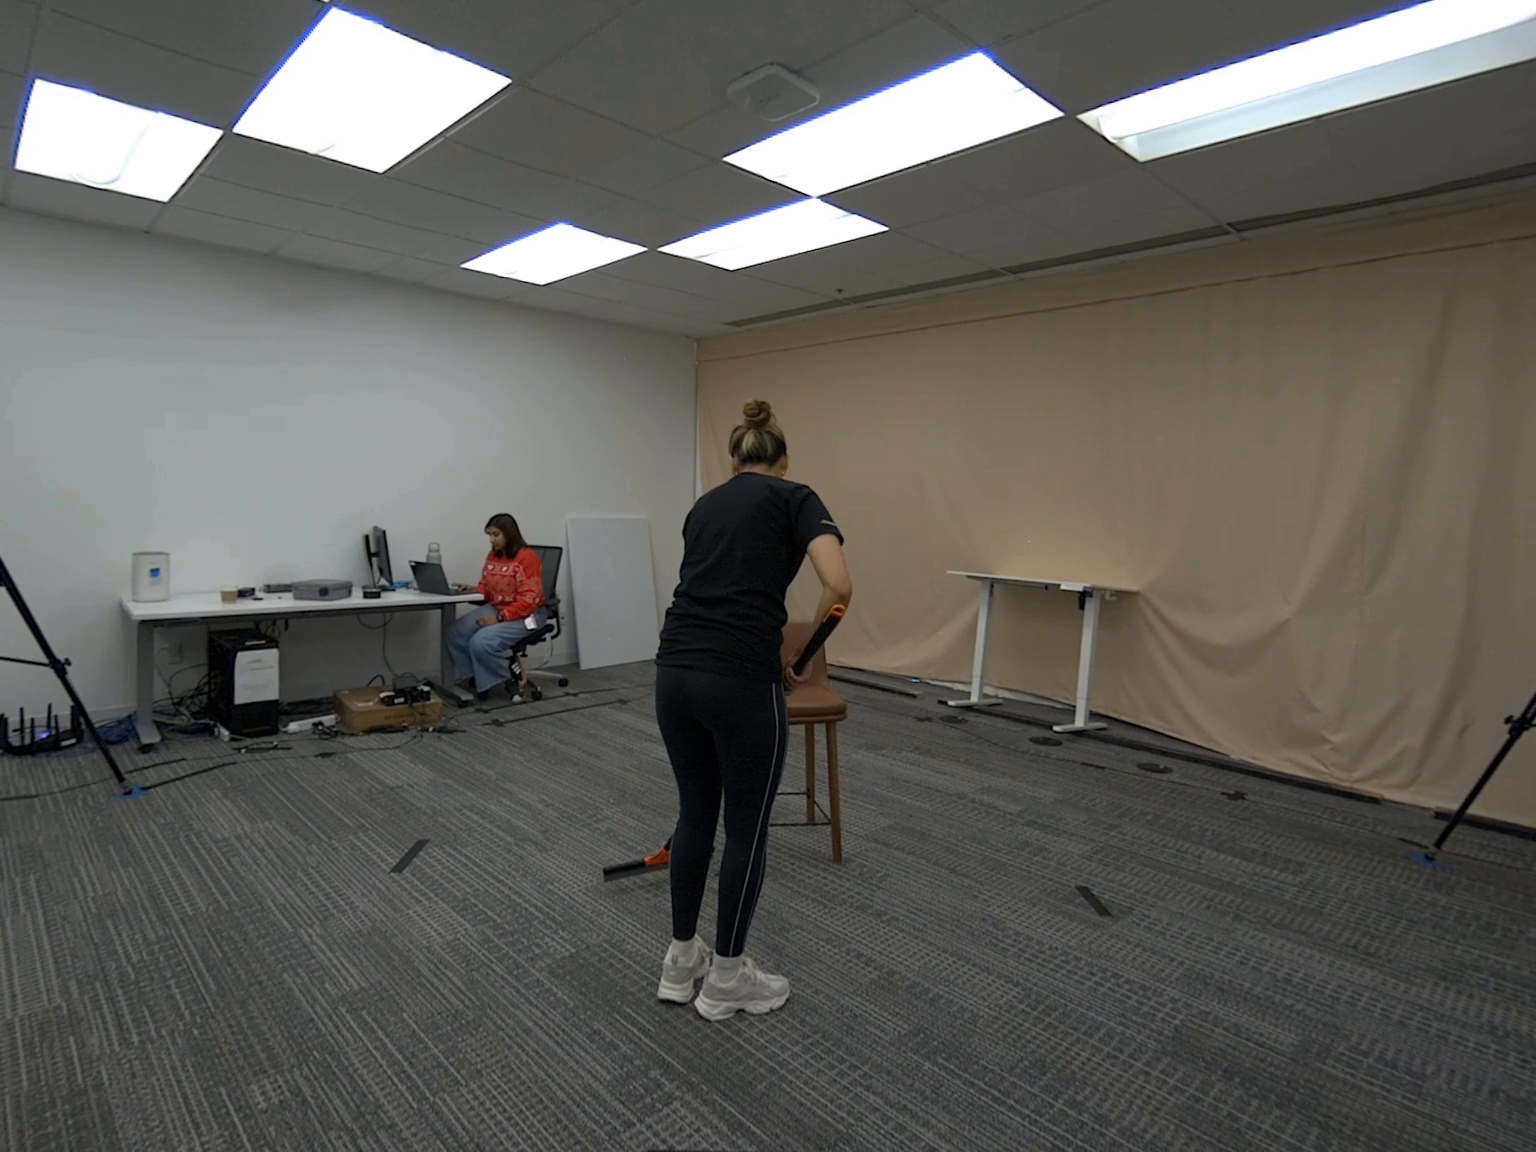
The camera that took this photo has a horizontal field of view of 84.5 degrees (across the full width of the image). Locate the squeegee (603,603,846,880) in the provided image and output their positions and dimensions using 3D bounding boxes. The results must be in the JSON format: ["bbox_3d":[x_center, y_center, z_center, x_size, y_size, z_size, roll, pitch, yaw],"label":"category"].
[{"bbox_3d":[-0.088,0.557,2.556,0.428,0.054,1.529,1,-39,-31],"label":"squeegee"}]
